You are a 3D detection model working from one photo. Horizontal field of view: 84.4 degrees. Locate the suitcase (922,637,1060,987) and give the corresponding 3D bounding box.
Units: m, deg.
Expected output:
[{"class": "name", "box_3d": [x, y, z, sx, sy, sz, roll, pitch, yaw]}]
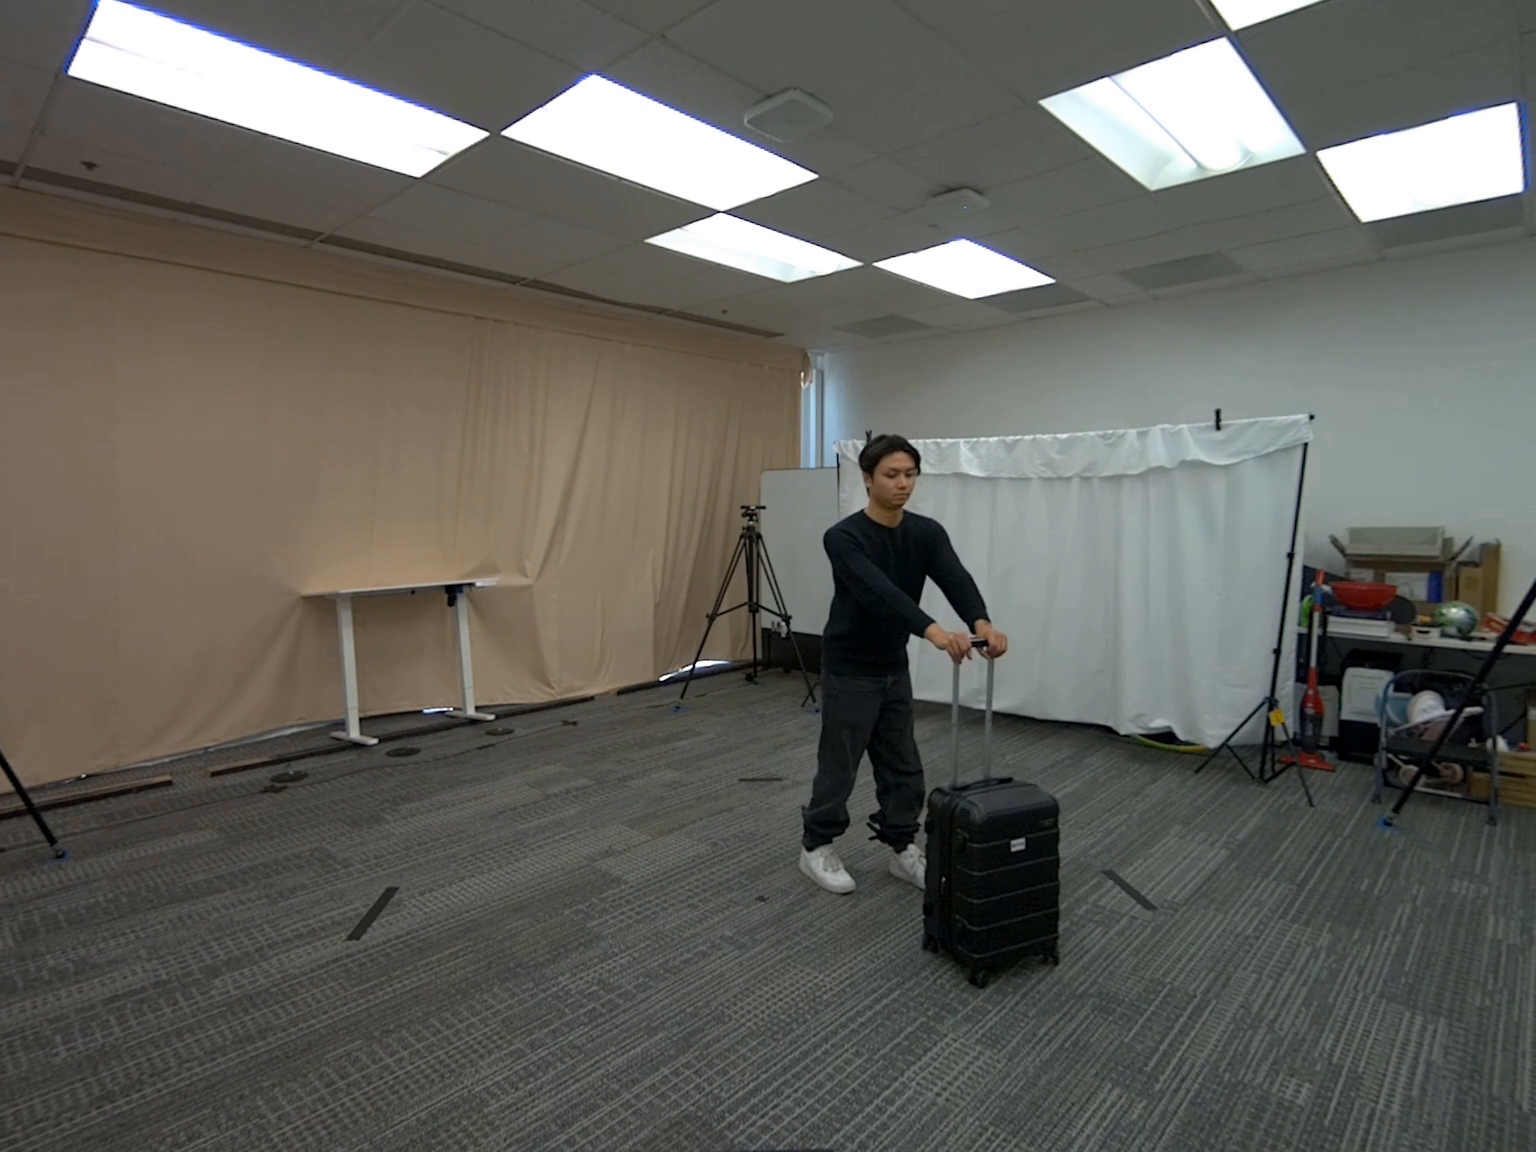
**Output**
[{"class": "suitcase", "box_3d": [0.693, 0.705, 2.549, 0.375, 0.975, 0.264, -2, 7, -24]}]
